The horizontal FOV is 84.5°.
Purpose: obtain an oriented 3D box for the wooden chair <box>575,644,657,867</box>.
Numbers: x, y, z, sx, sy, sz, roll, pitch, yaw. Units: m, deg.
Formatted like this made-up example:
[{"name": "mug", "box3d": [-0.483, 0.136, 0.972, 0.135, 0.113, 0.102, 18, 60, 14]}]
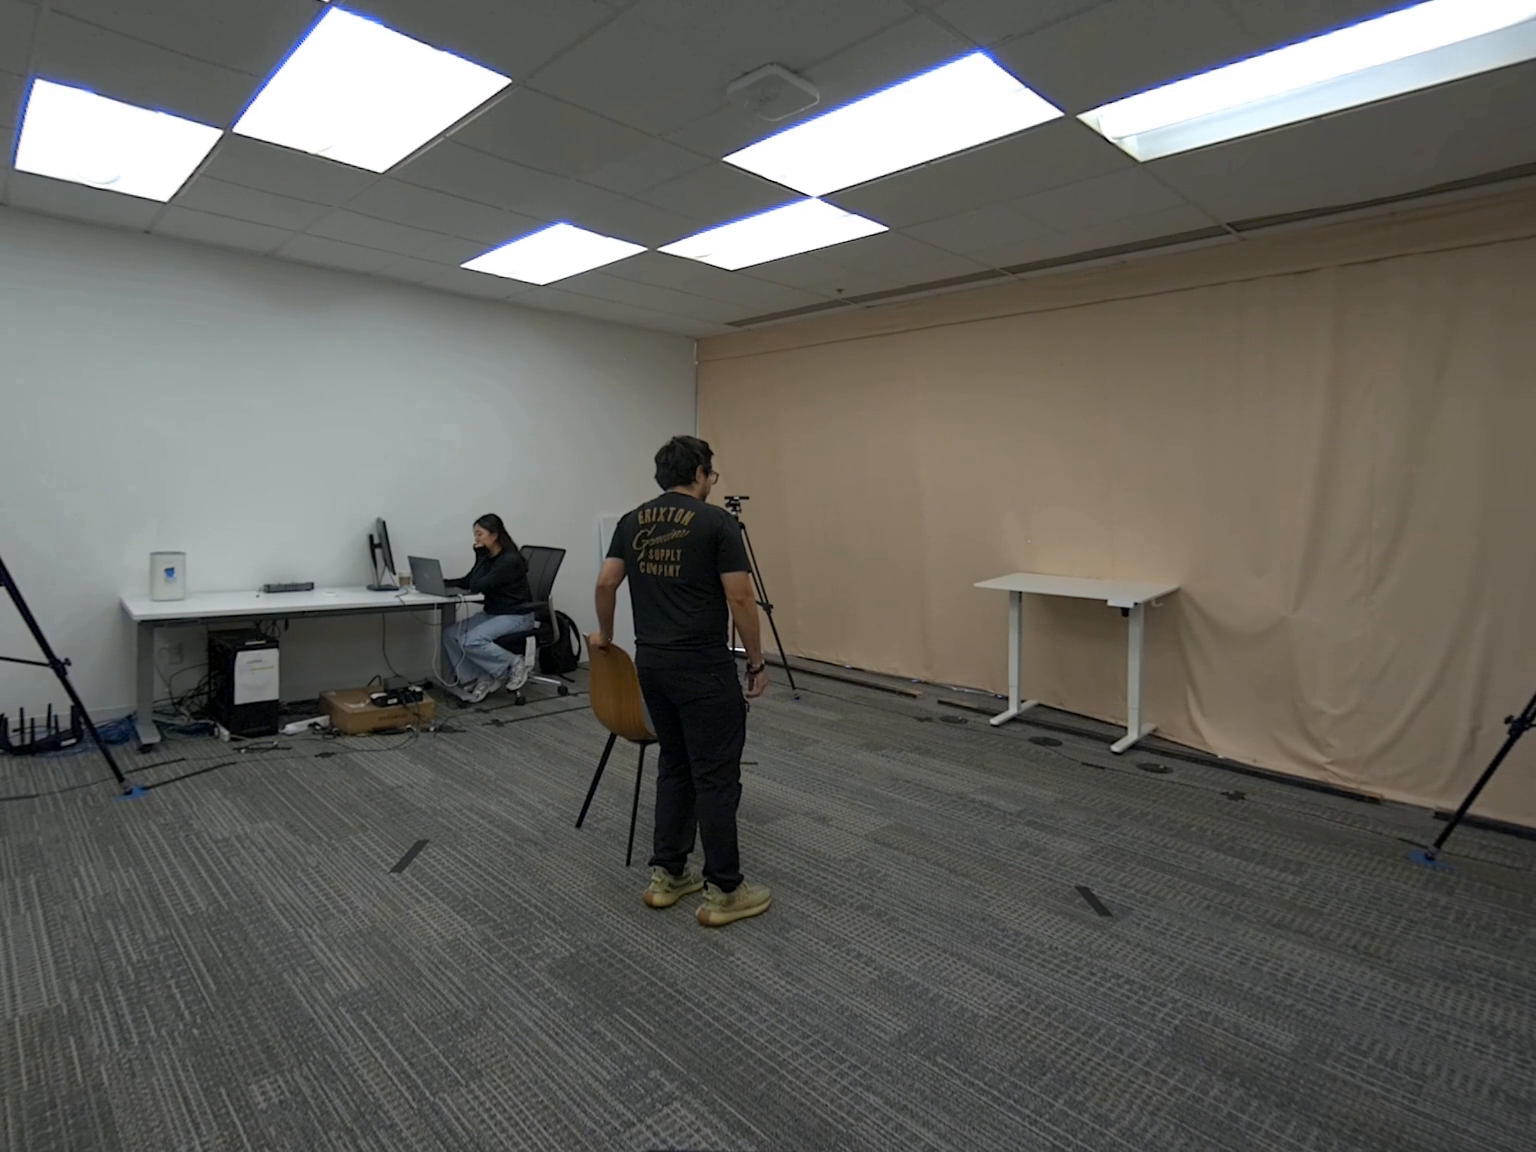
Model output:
[{"name": "wooden chair", "box3d": [-0.479, 0.640, 3.448, 0.512, 0.873, 0.490, -6, 8, -37]}]
